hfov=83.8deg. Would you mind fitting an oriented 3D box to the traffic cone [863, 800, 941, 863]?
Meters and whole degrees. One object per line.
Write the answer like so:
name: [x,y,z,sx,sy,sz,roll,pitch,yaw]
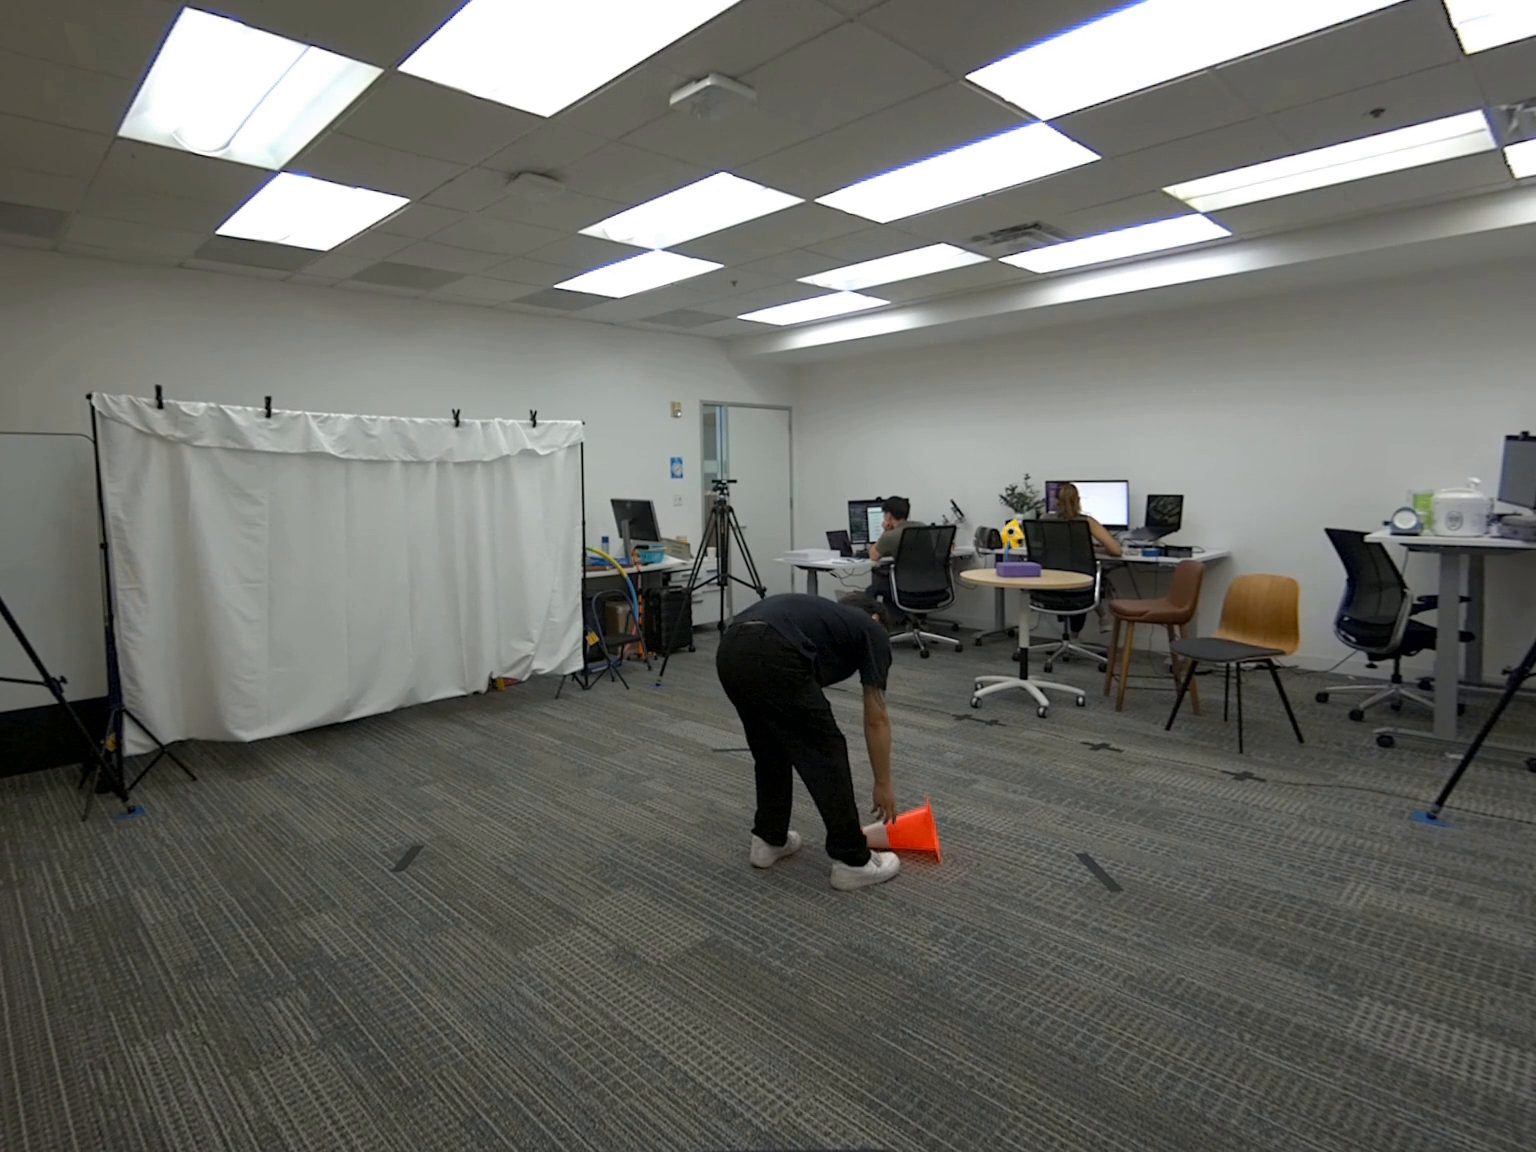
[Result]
traffic cone: [0.431,0.975,3.210,0.387,0.203,0.204,-13,3,11]
